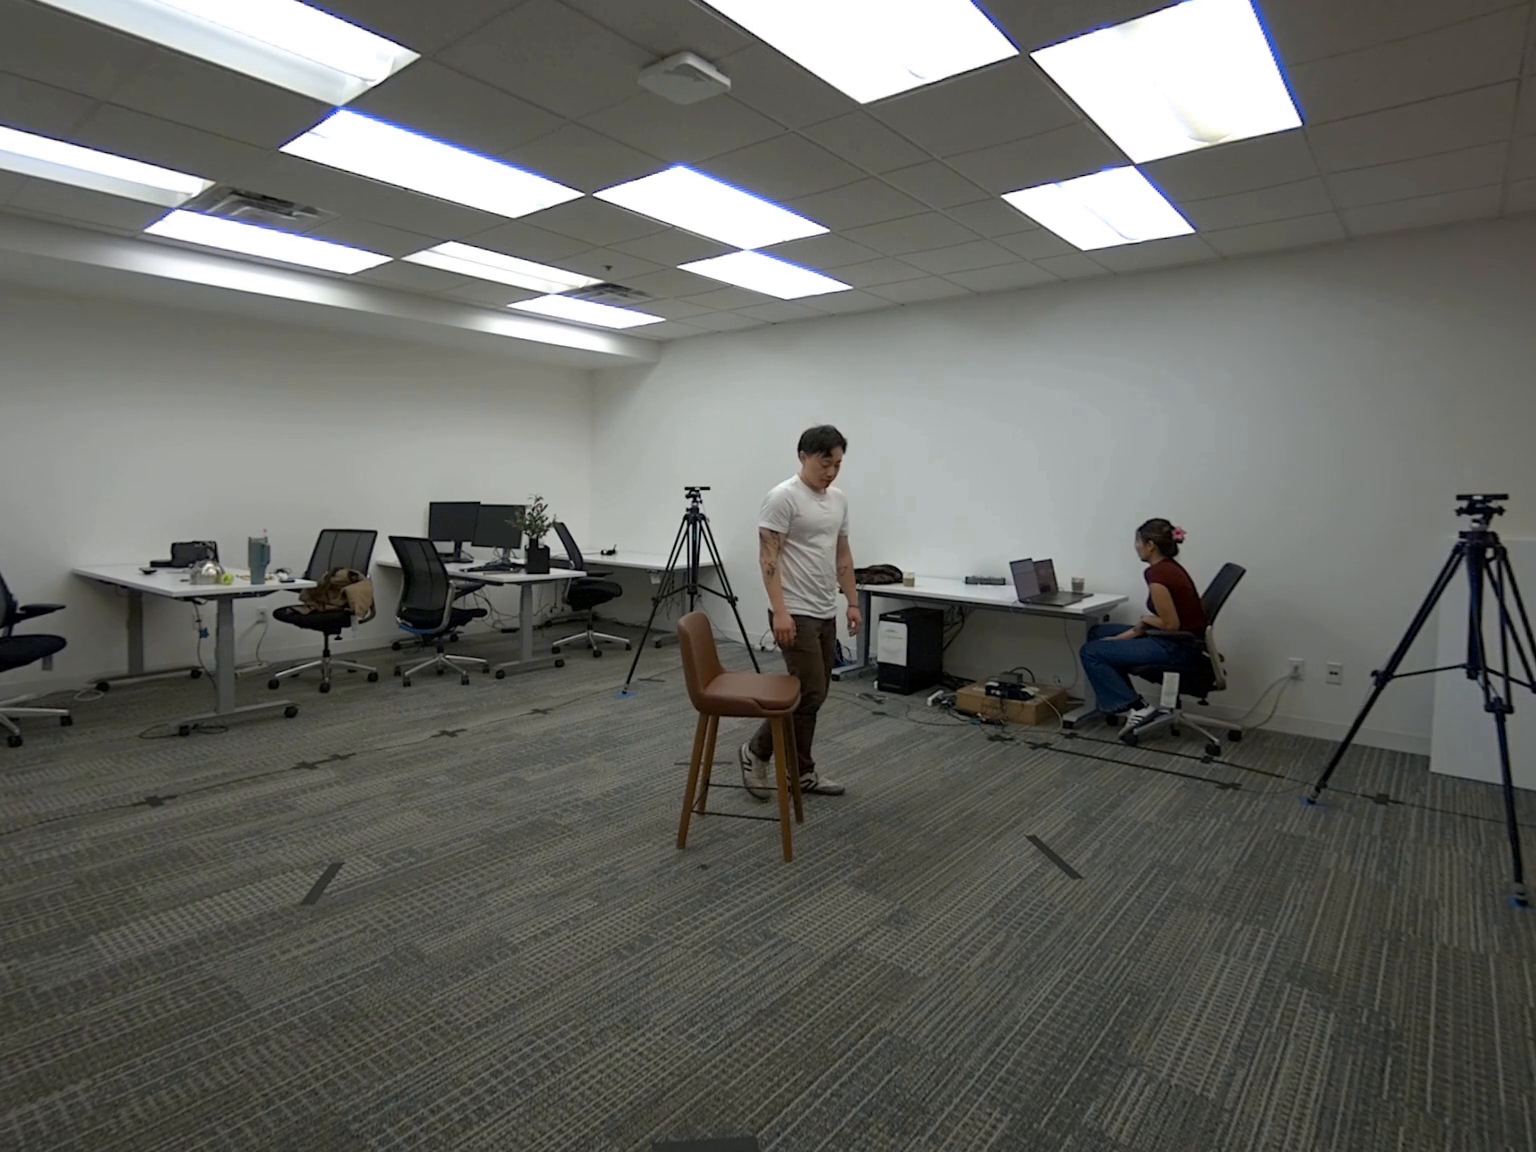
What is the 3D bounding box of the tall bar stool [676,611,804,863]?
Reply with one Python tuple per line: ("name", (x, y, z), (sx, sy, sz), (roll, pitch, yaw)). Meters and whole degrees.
("tall bar stool", (-0.113, 0.605, 3.396), (0.474, 0.888, 0.452), (0, 3, 11))
